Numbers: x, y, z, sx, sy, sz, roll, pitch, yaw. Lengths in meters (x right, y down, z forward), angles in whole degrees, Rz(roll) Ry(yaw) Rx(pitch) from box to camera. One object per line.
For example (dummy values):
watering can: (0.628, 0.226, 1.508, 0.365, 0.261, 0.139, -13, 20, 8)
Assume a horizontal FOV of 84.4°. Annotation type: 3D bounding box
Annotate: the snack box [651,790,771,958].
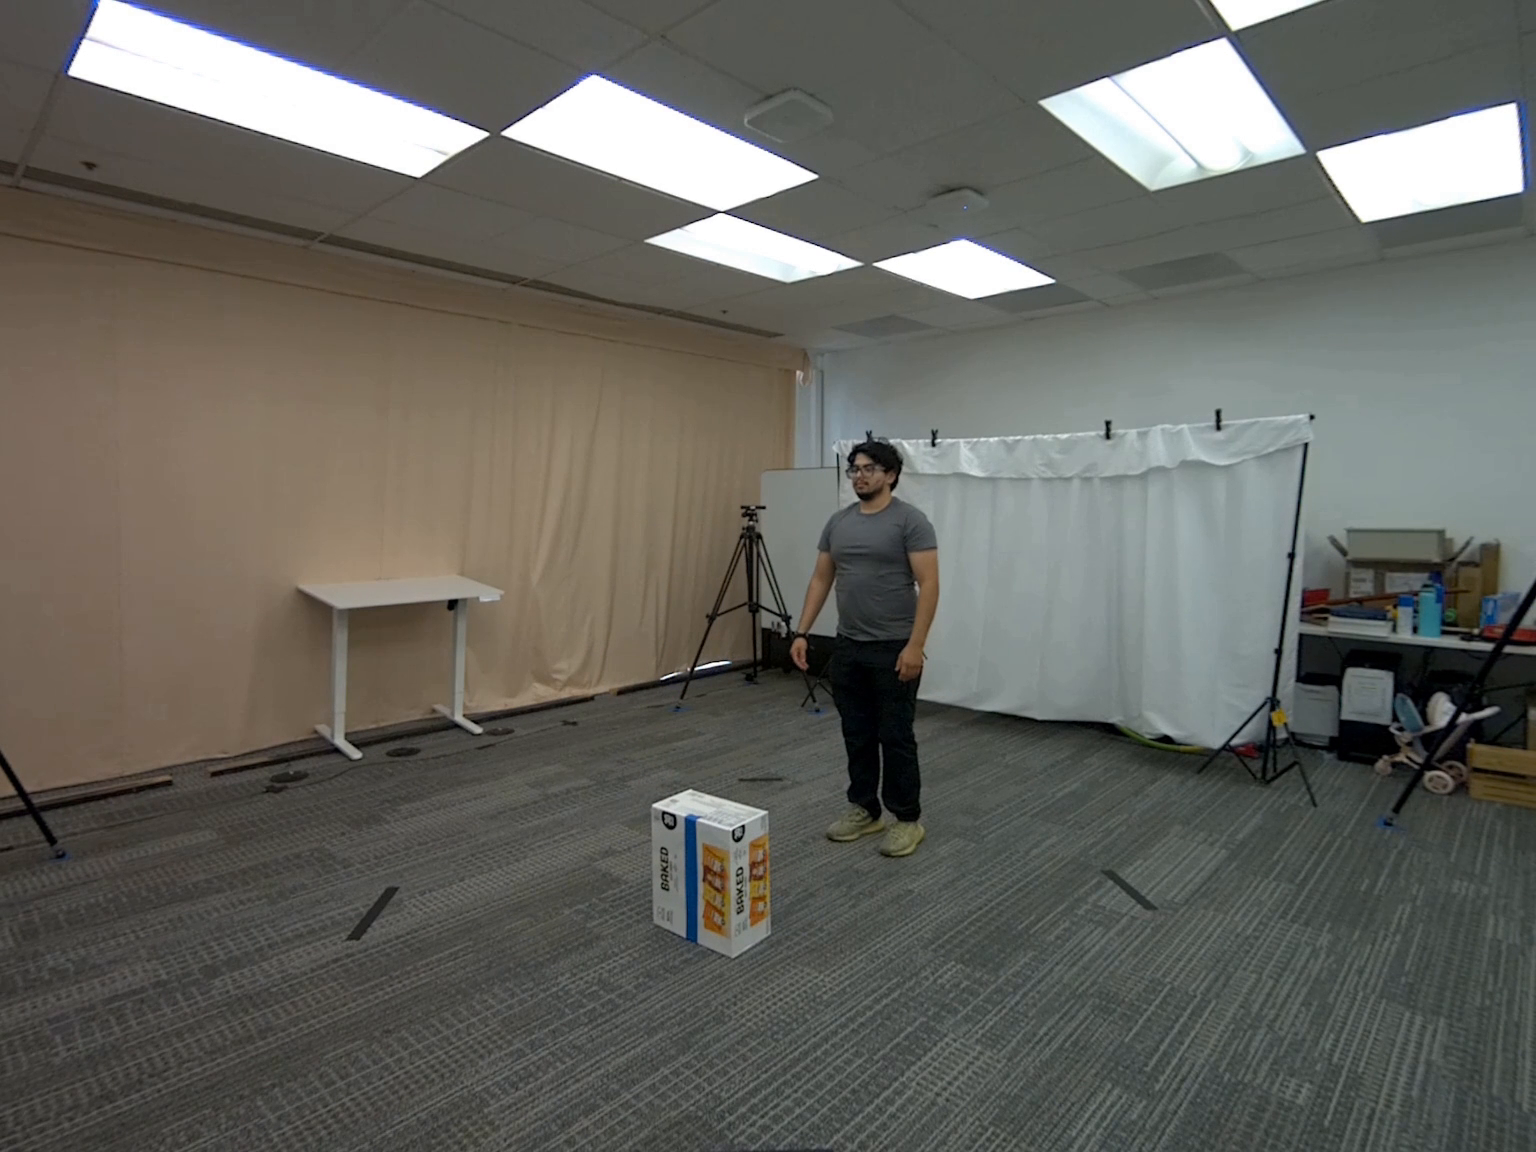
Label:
snack box: (-0.184, 0.960, 2.757, 0.351, 0.404, 0.199, 2, 4, 38)
